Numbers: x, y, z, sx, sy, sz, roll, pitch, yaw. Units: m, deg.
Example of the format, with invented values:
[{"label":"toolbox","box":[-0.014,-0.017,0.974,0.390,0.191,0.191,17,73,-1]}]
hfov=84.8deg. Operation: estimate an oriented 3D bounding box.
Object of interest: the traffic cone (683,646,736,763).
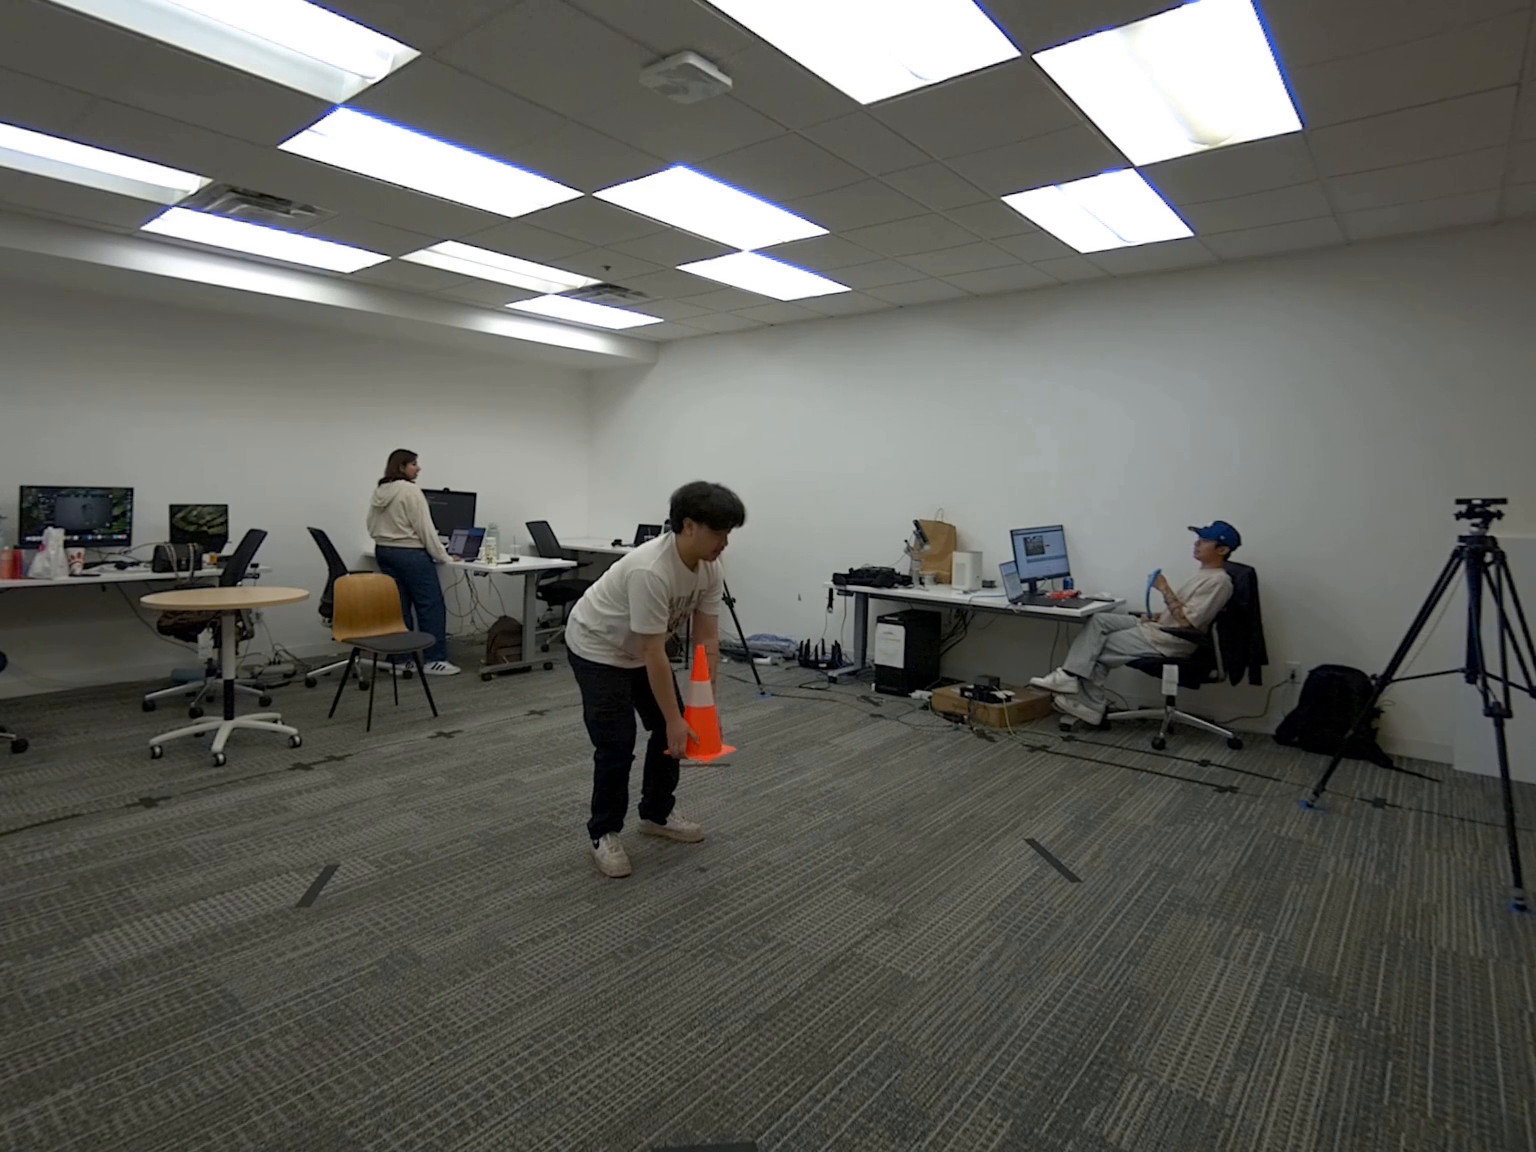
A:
[{"label":"traffic cone","box":[-0.260,0.445,3.074,0.199,0.382,0.210,-3,5,-39]}]
